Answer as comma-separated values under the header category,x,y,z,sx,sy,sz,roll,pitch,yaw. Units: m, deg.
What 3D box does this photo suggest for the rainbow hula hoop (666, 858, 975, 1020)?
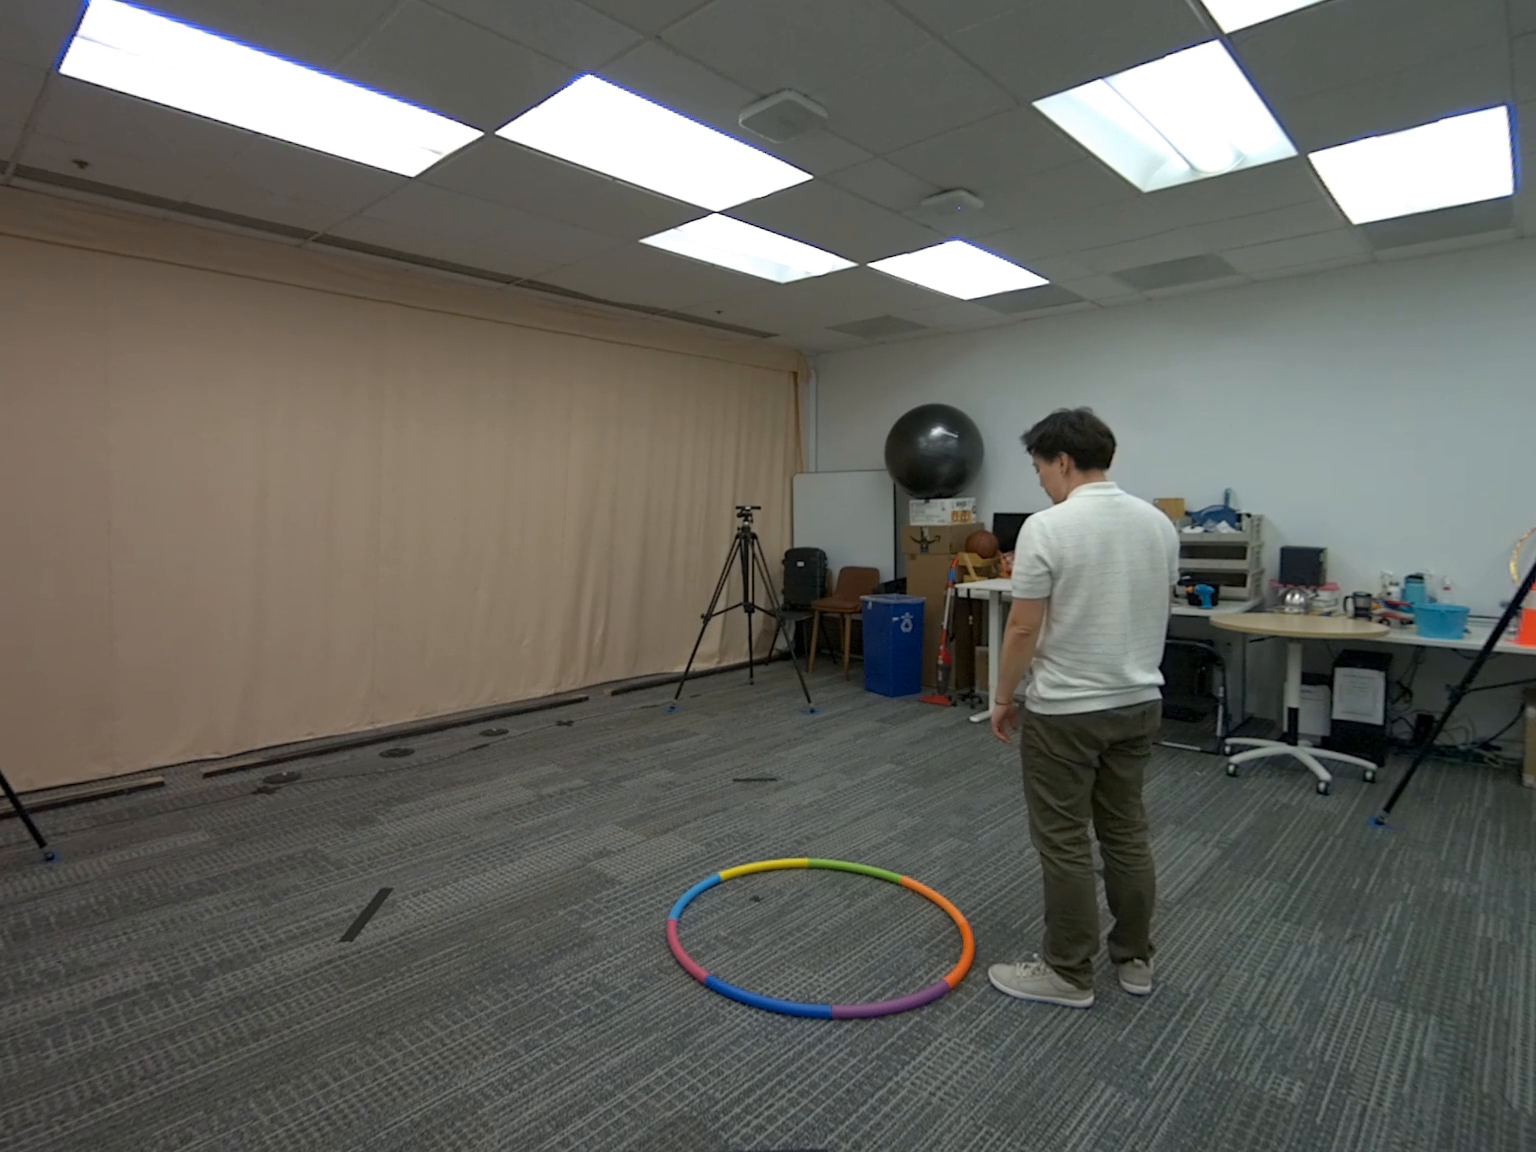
category,x,y,z,sx,sy,sz,roll,pitch,yaw
rainbow hula hoop,0.162,1.131,2.762,0.978,0.035,0.982,-1,5,-2
